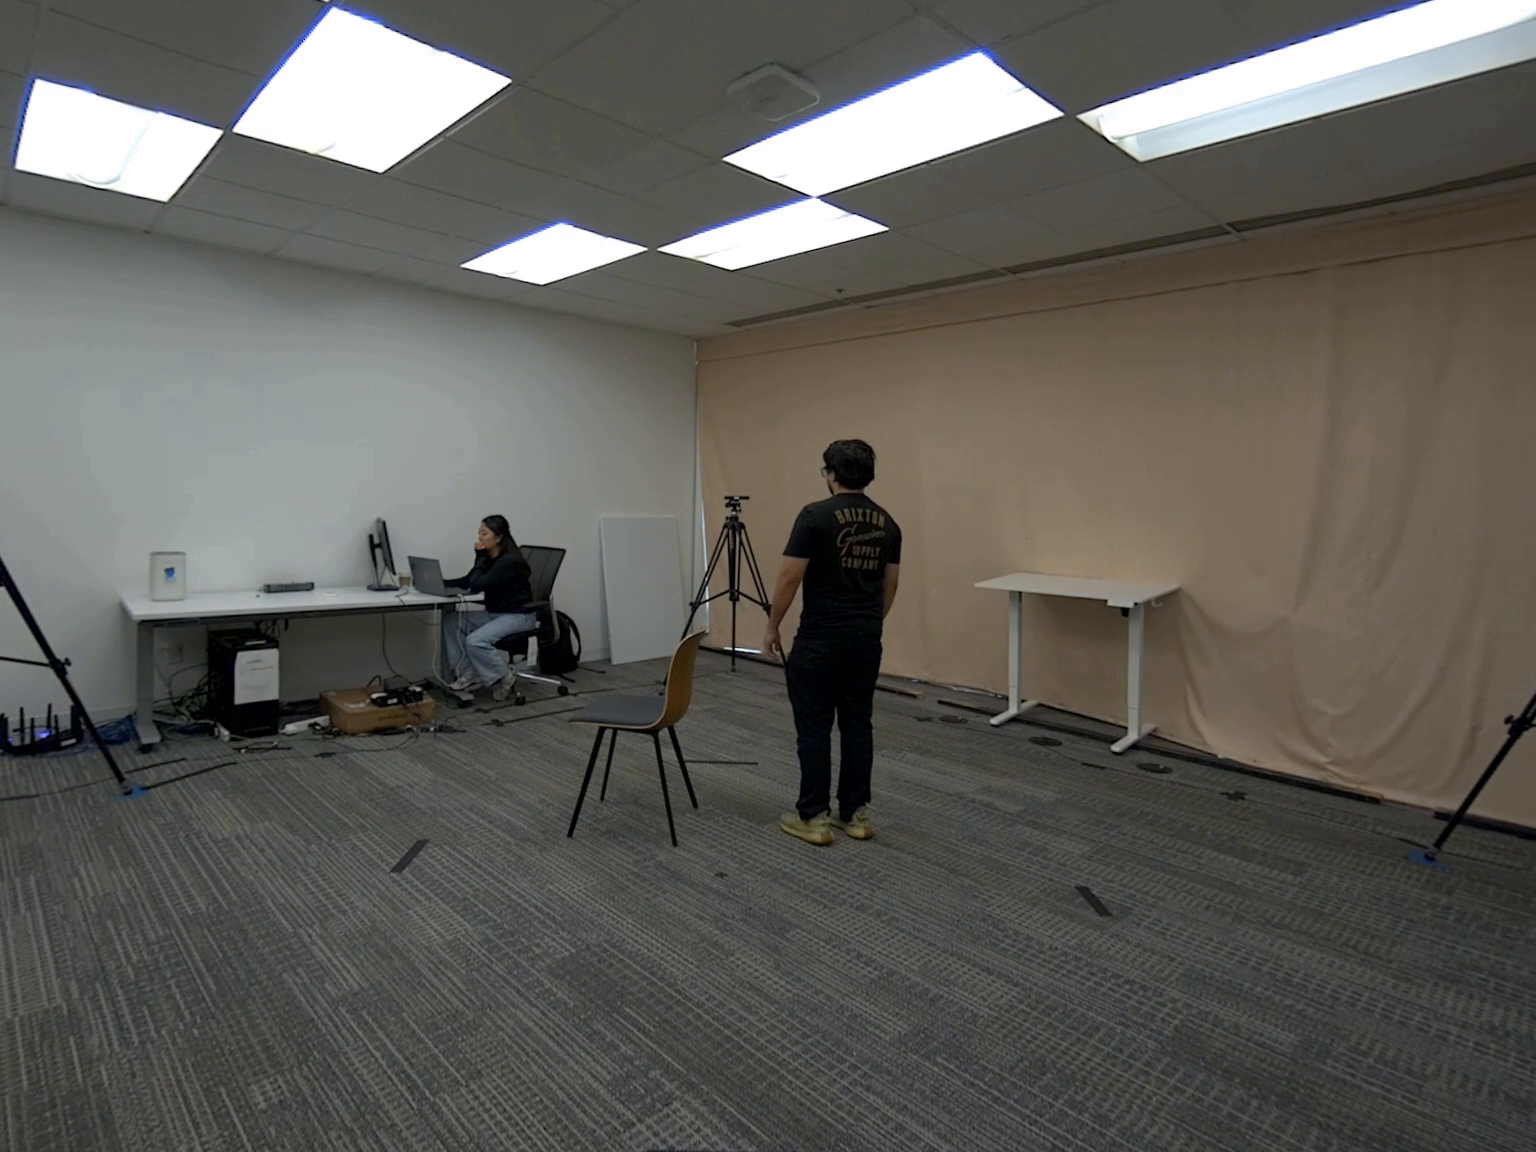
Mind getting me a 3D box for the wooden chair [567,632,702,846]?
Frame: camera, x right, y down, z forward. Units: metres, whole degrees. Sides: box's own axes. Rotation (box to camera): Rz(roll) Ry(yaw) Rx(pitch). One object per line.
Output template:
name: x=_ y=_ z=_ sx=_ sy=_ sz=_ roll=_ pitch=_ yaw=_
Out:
wooden chair: x=-0.566 y=0.627 z=3.560 sx=0.526 sy=0.875 sz=0.476 roll=6 pitch=4 yaw=7
